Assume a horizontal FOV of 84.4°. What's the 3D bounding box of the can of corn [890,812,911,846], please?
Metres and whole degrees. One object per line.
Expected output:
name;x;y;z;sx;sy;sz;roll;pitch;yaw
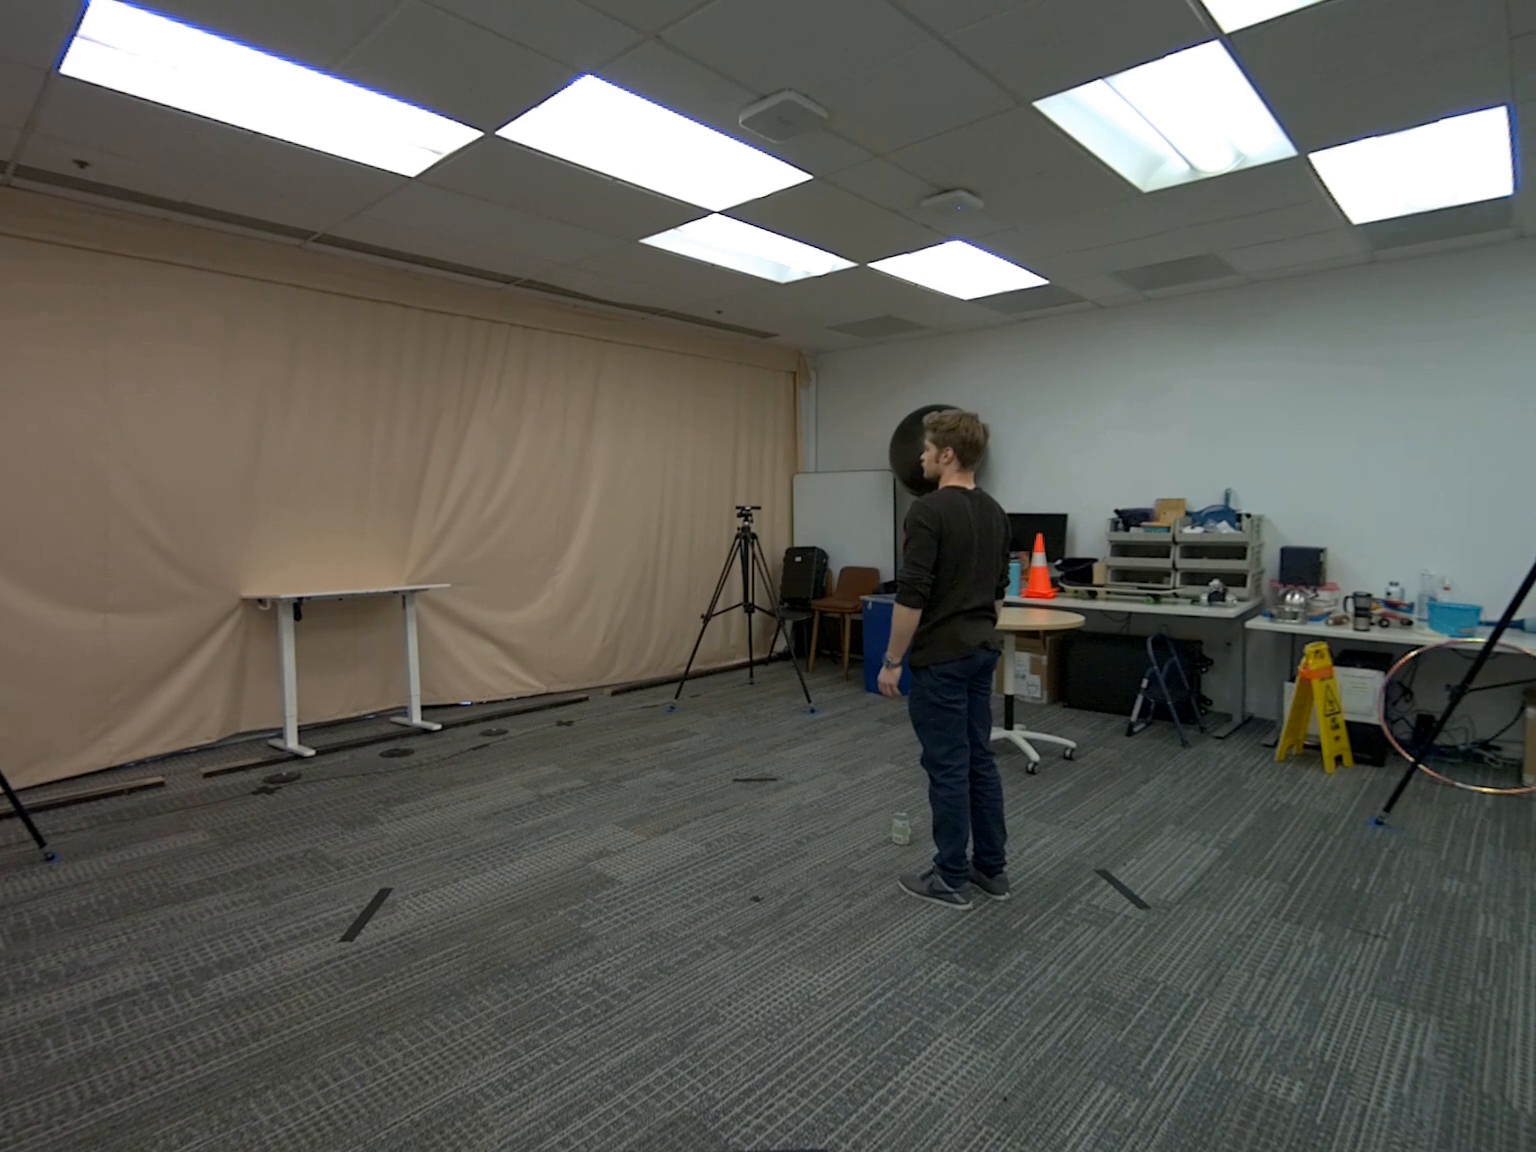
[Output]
can of corn;0.554;1.050;3.482;0.074;0.111;0.074;2;3;-2
